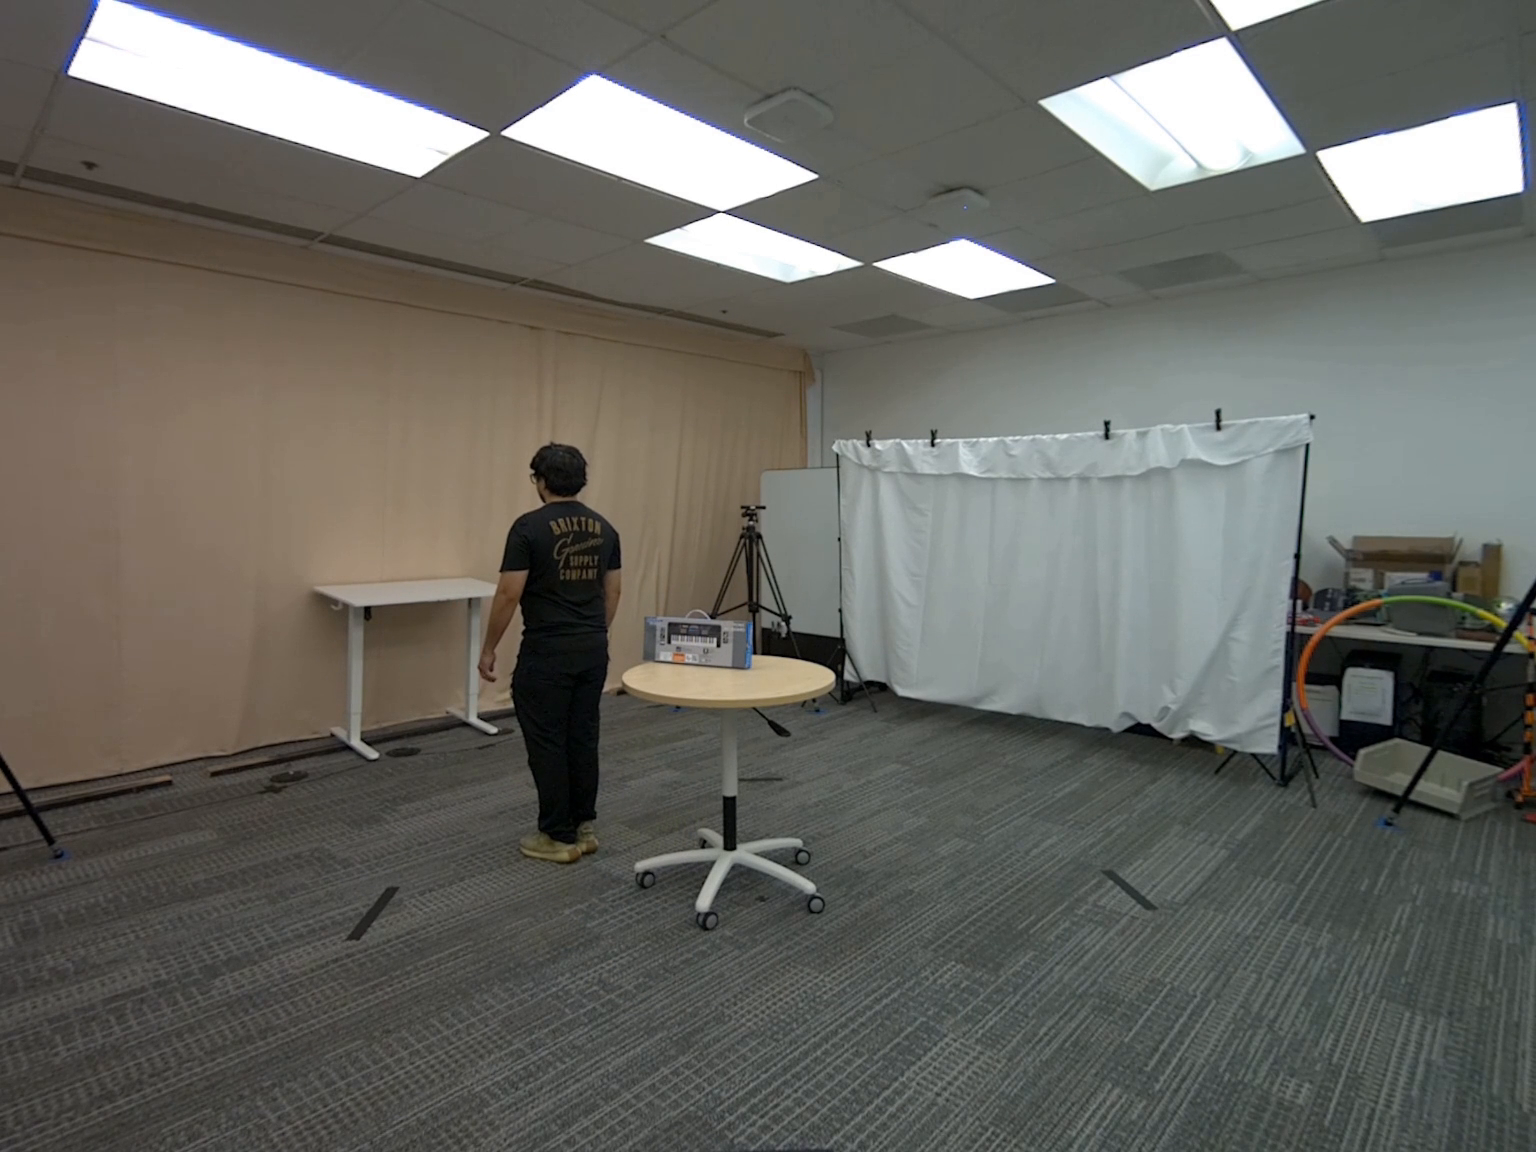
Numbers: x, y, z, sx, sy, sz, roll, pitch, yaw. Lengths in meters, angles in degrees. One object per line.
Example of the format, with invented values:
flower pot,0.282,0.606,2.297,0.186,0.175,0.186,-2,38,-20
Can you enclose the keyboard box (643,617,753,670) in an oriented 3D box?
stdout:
keyboard box,-0.272,0.254,3.232,0.447,0.176,0.057,2,-3,23
